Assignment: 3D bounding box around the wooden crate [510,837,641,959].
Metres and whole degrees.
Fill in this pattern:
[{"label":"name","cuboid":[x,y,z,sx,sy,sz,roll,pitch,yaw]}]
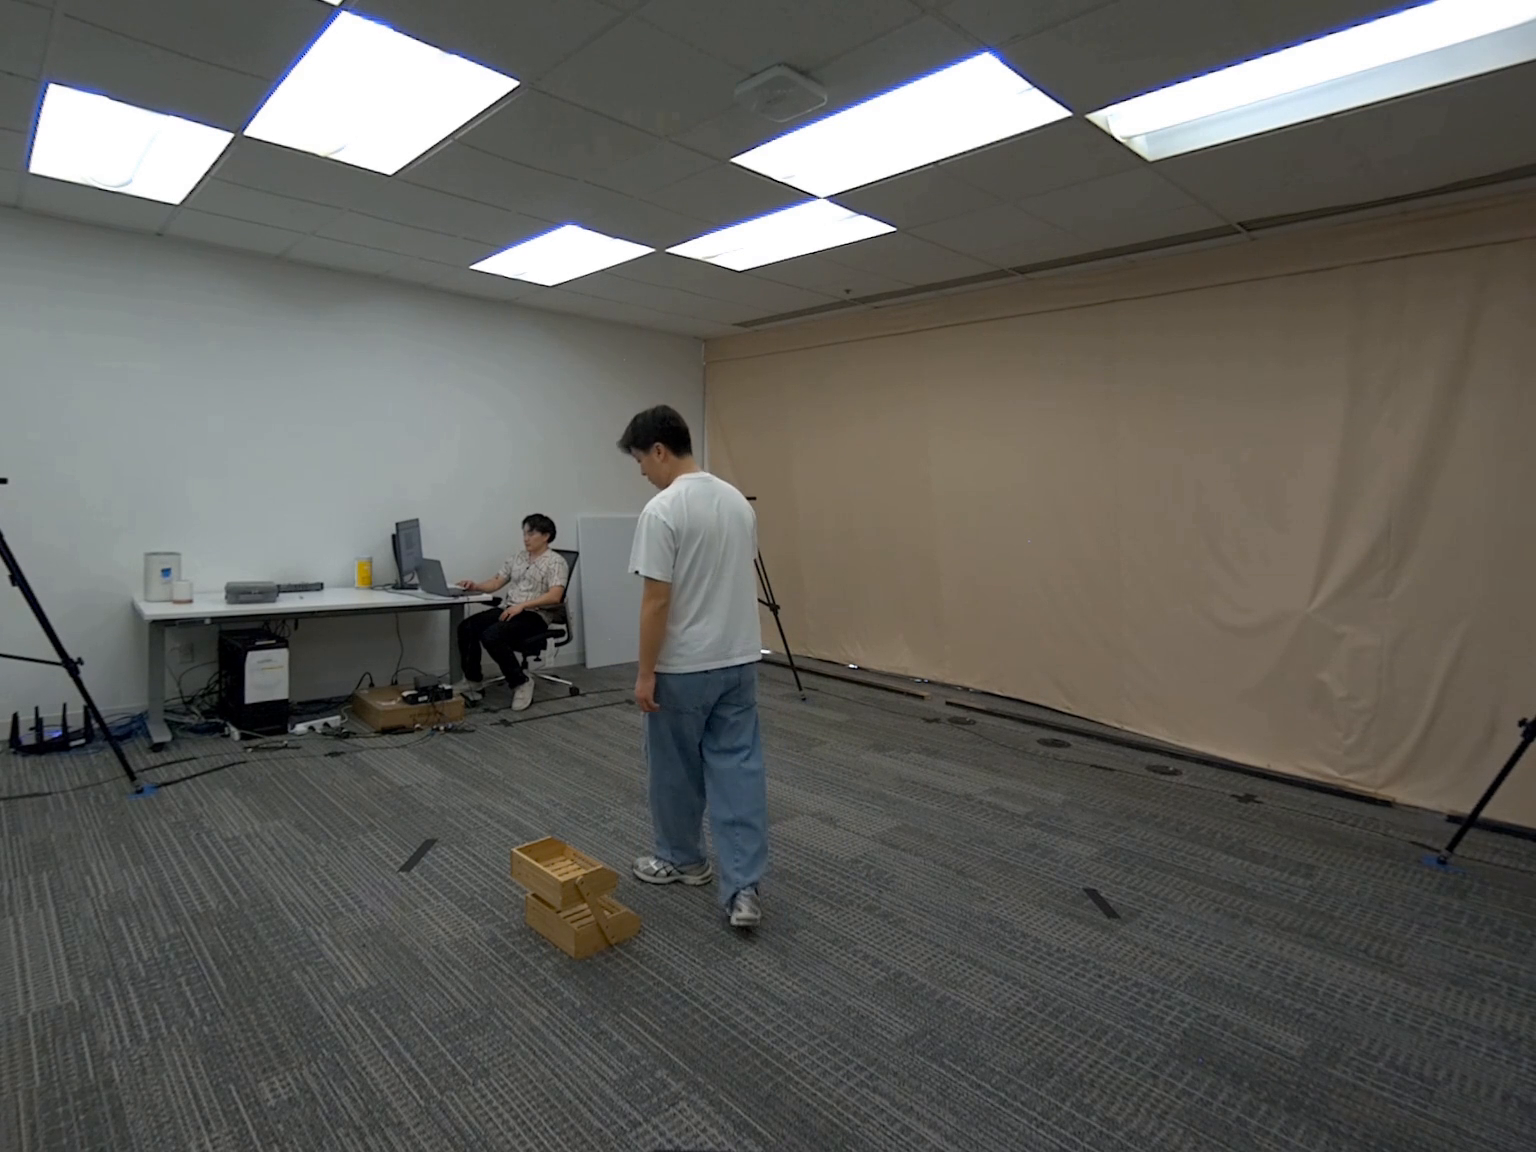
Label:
[{"label":"wooden crate","cuboid":[-0.617,1.001,2.680,0.295,0.272,0.333,-4,7,-45]}]
